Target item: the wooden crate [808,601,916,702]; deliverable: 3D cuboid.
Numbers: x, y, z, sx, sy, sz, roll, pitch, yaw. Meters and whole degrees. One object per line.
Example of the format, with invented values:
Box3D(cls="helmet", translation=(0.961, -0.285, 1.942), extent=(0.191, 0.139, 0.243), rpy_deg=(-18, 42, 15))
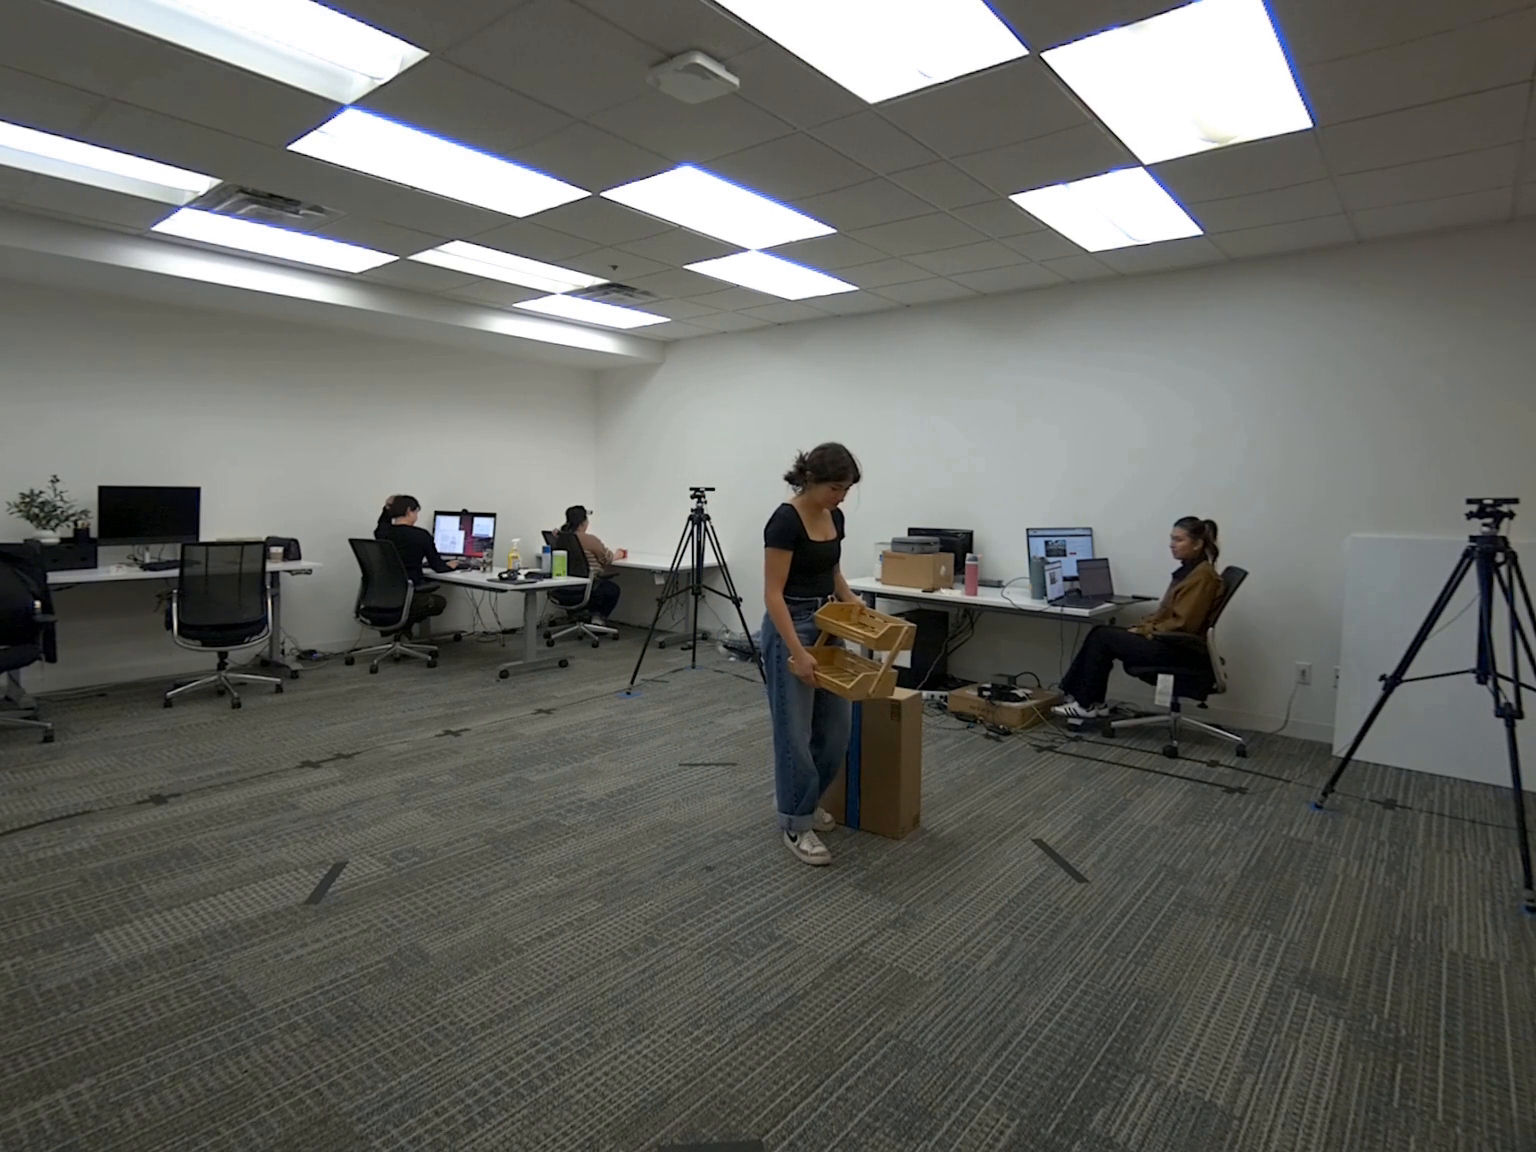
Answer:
Box3D(cls="wooden crate", translation=(0.290, 0.253, 3.037), extent=(0.292, 0.272, 0.337), rpy_deg=(2, 12, -44))
